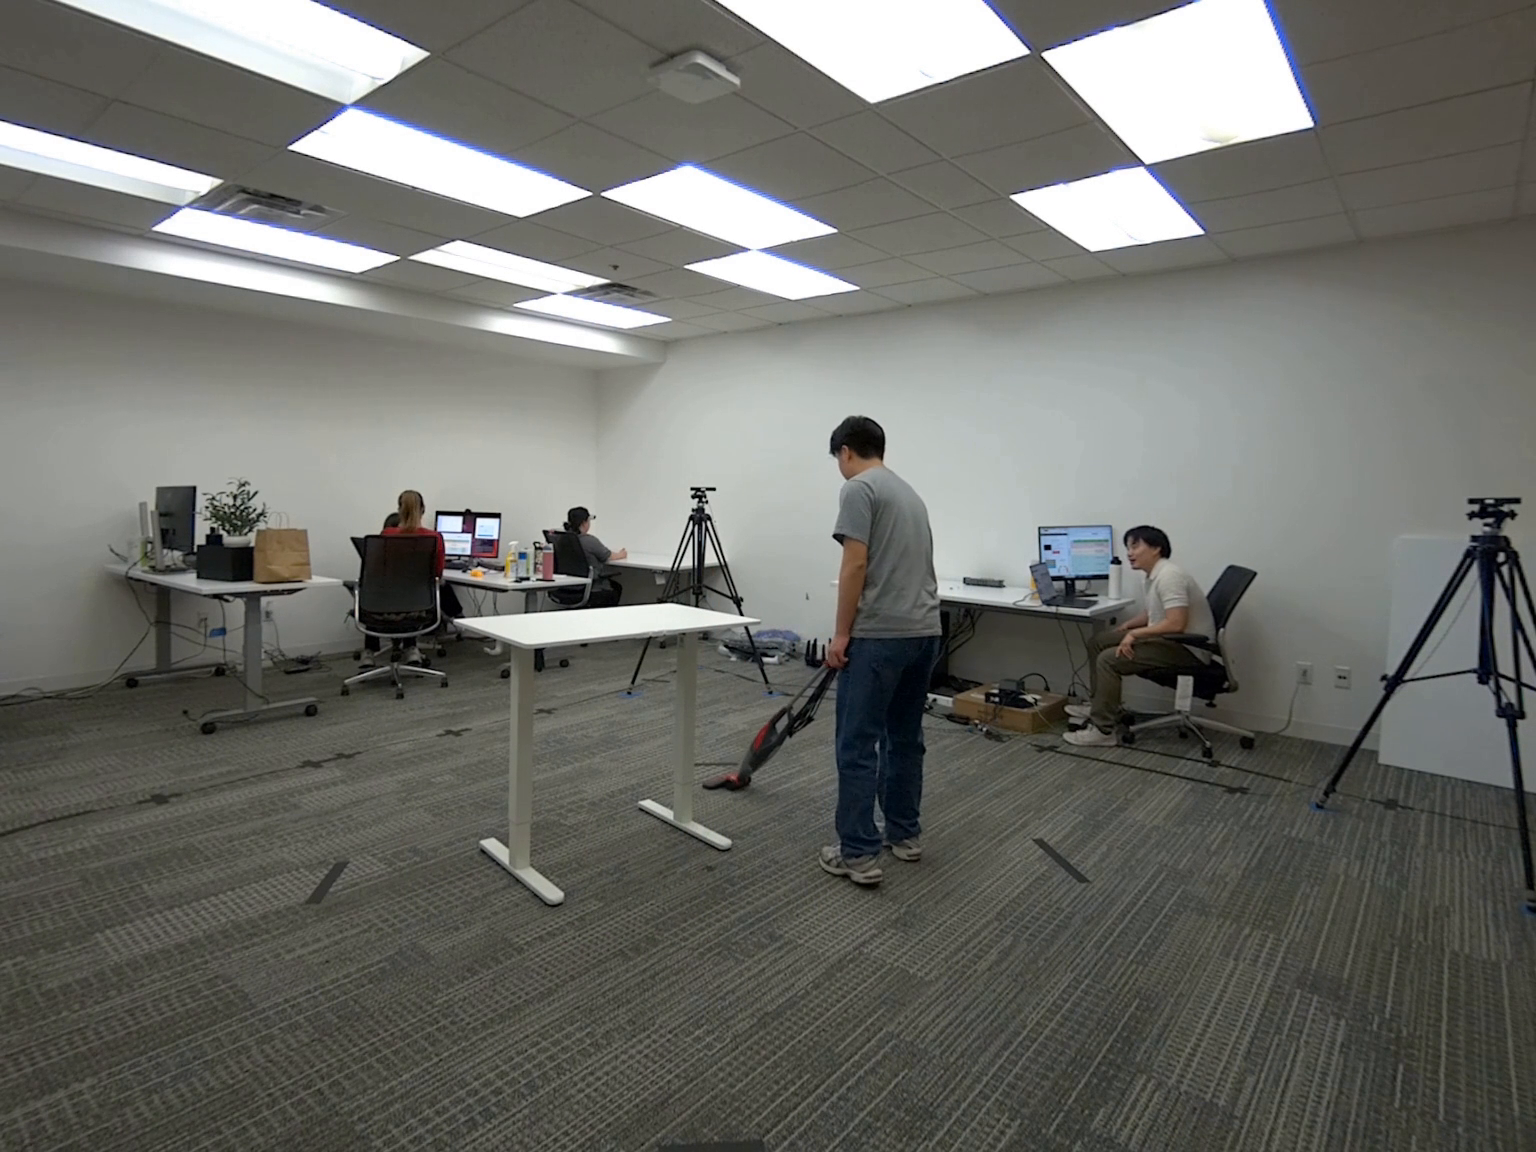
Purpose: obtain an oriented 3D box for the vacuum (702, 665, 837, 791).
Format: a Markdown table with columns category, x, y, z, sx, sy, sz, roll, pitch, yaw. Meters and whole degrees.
| category | x | y | z | sx | sy | sz | roll | pitch | yaw |
| --- | --- | --- | --- | --- | --- | --- | --- | --- | --- |
| vacuum | 0.096 | 0.616 | 3.749 | 0.148 | 1.046 | 0.246 | 49 | 30 | 18 |
